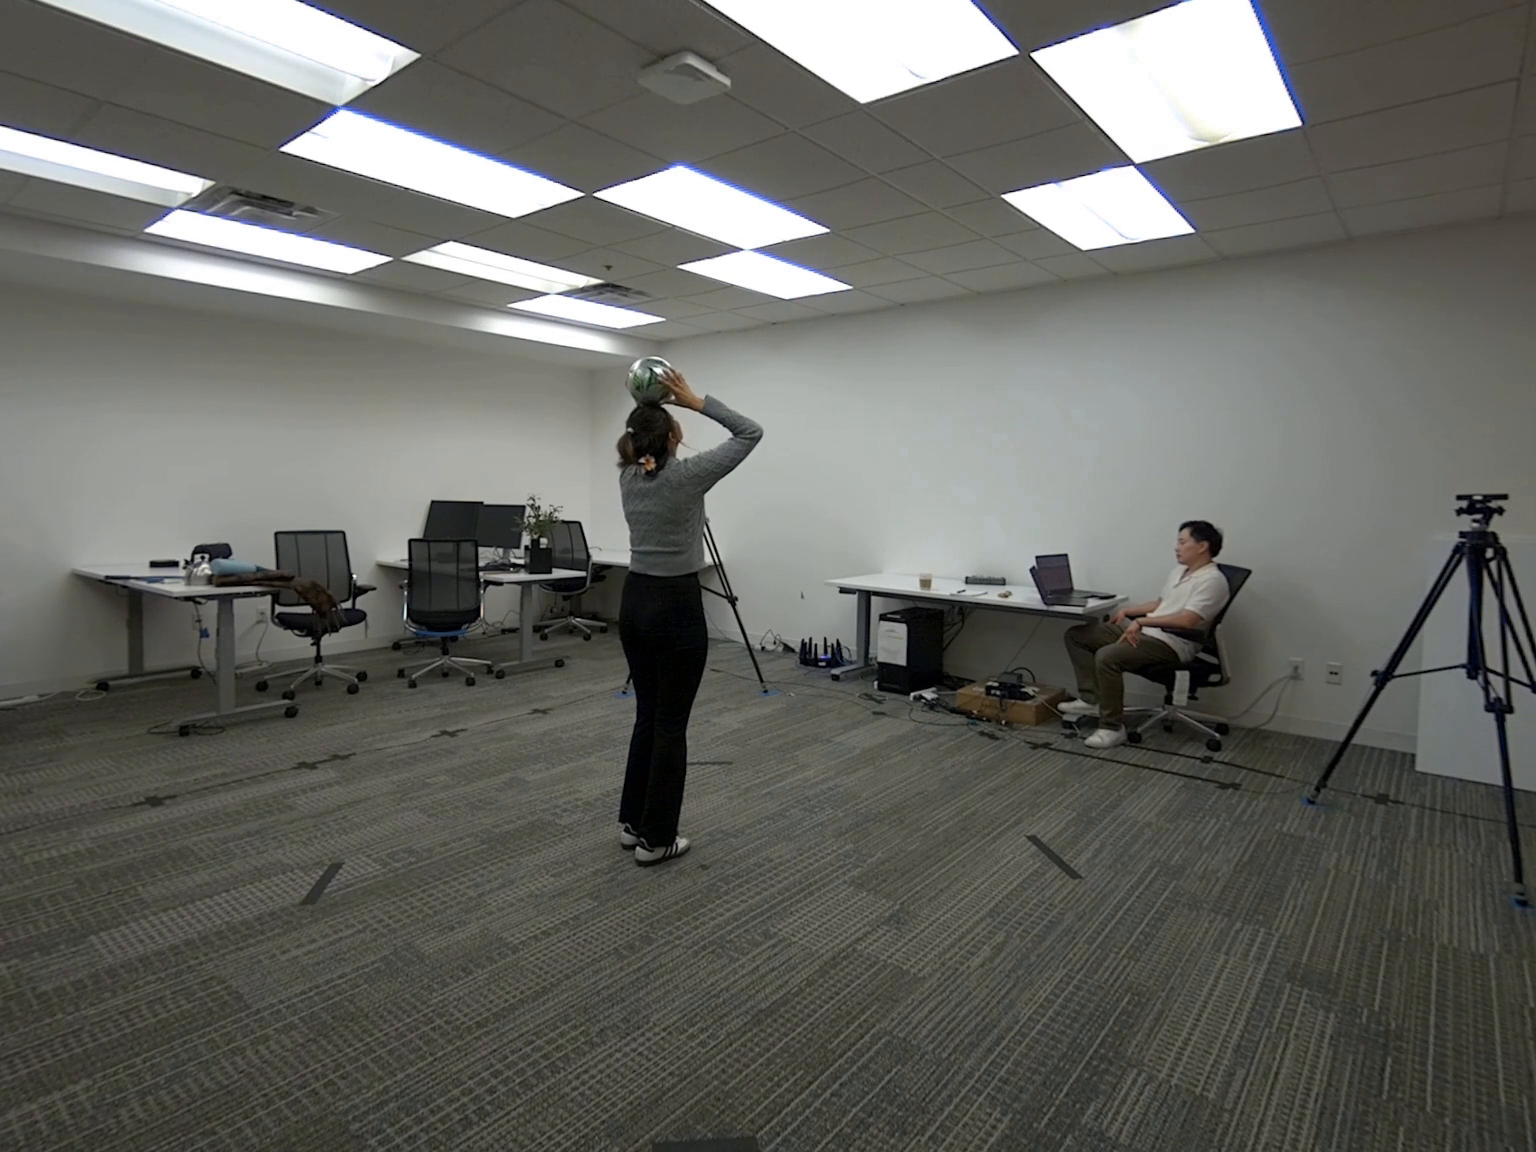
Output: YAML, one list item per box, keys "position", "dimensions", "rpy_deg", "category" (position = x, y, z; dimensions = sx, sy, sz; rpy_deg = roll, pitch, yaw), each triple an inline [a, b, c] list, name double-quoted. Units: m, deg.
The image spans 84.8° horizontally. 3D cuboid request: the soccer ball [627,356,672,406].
- position: [-0.441, -0.726, 3.178]
  dimensions: [0.187, 0.187, 0.188]
  rpy_deg: [1, 4, -2]
  category: "soccer ball"
